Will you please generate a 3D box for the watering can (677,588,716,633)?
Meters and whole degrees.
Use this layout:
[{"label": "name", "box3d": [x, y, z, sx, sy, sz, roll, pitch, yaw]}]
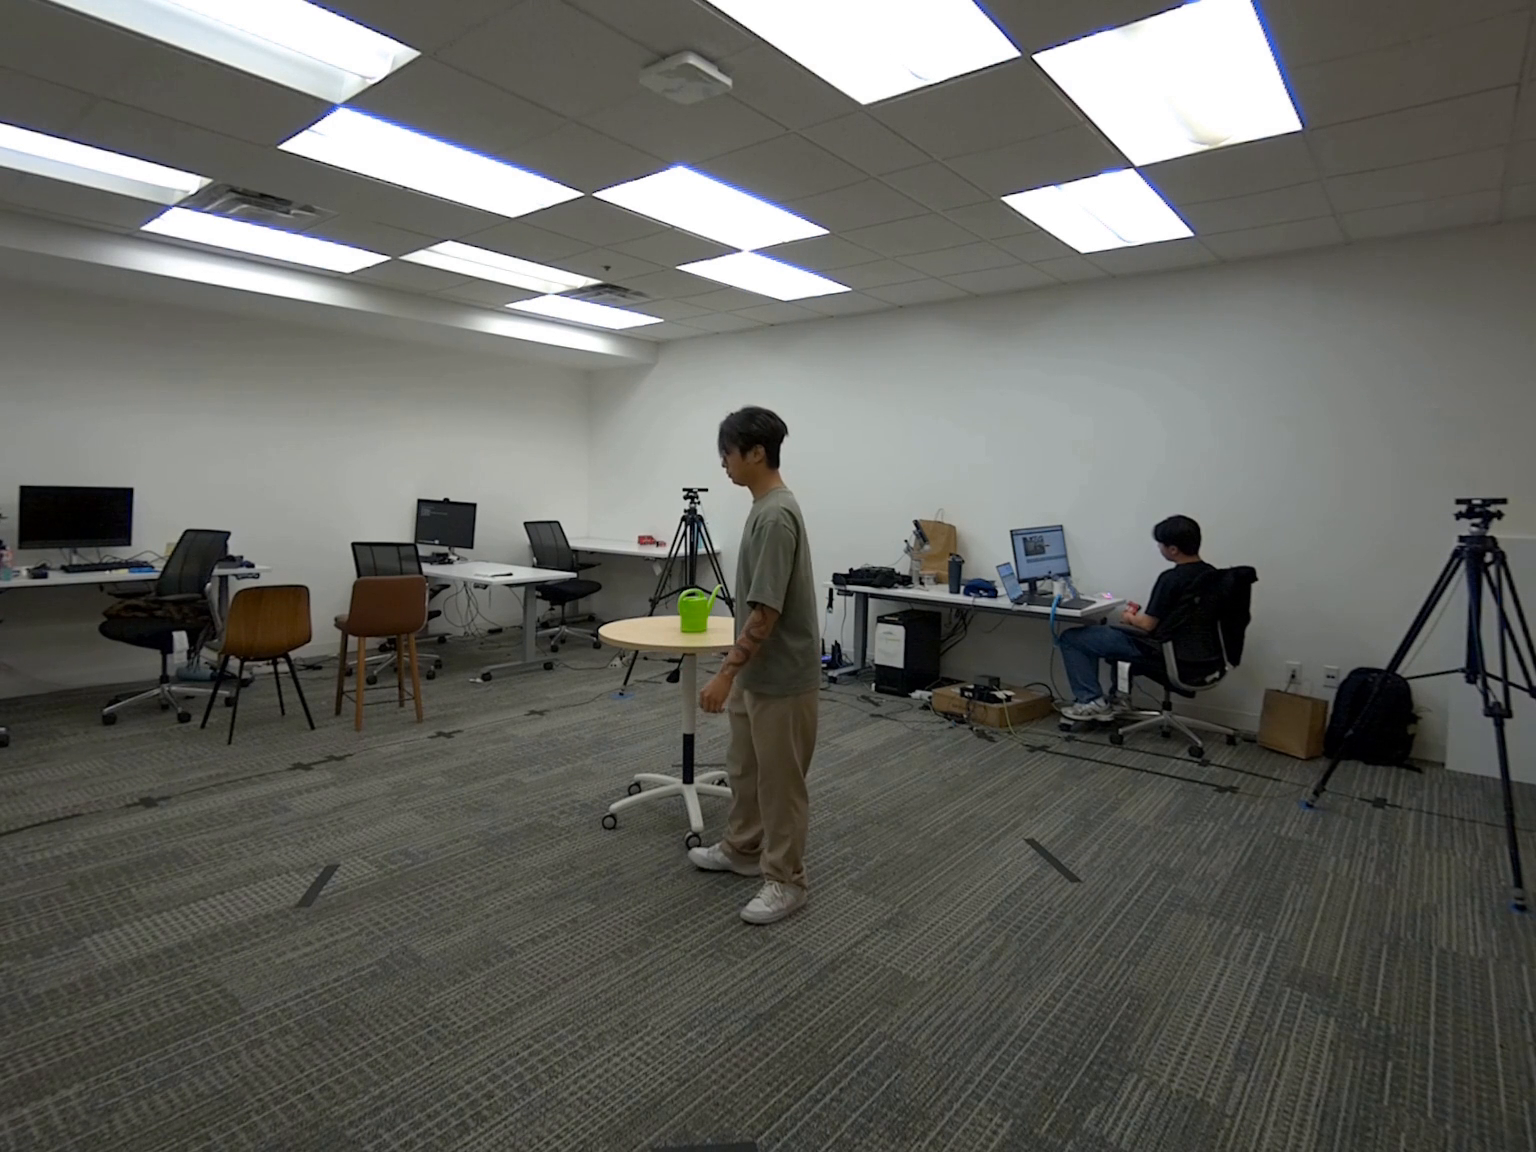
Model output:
[{"label": "watering can", "box3d": [-0.290, 0.136, 3.590, 0.270, 0.176, 0.101, -5, 8, -39]}]
